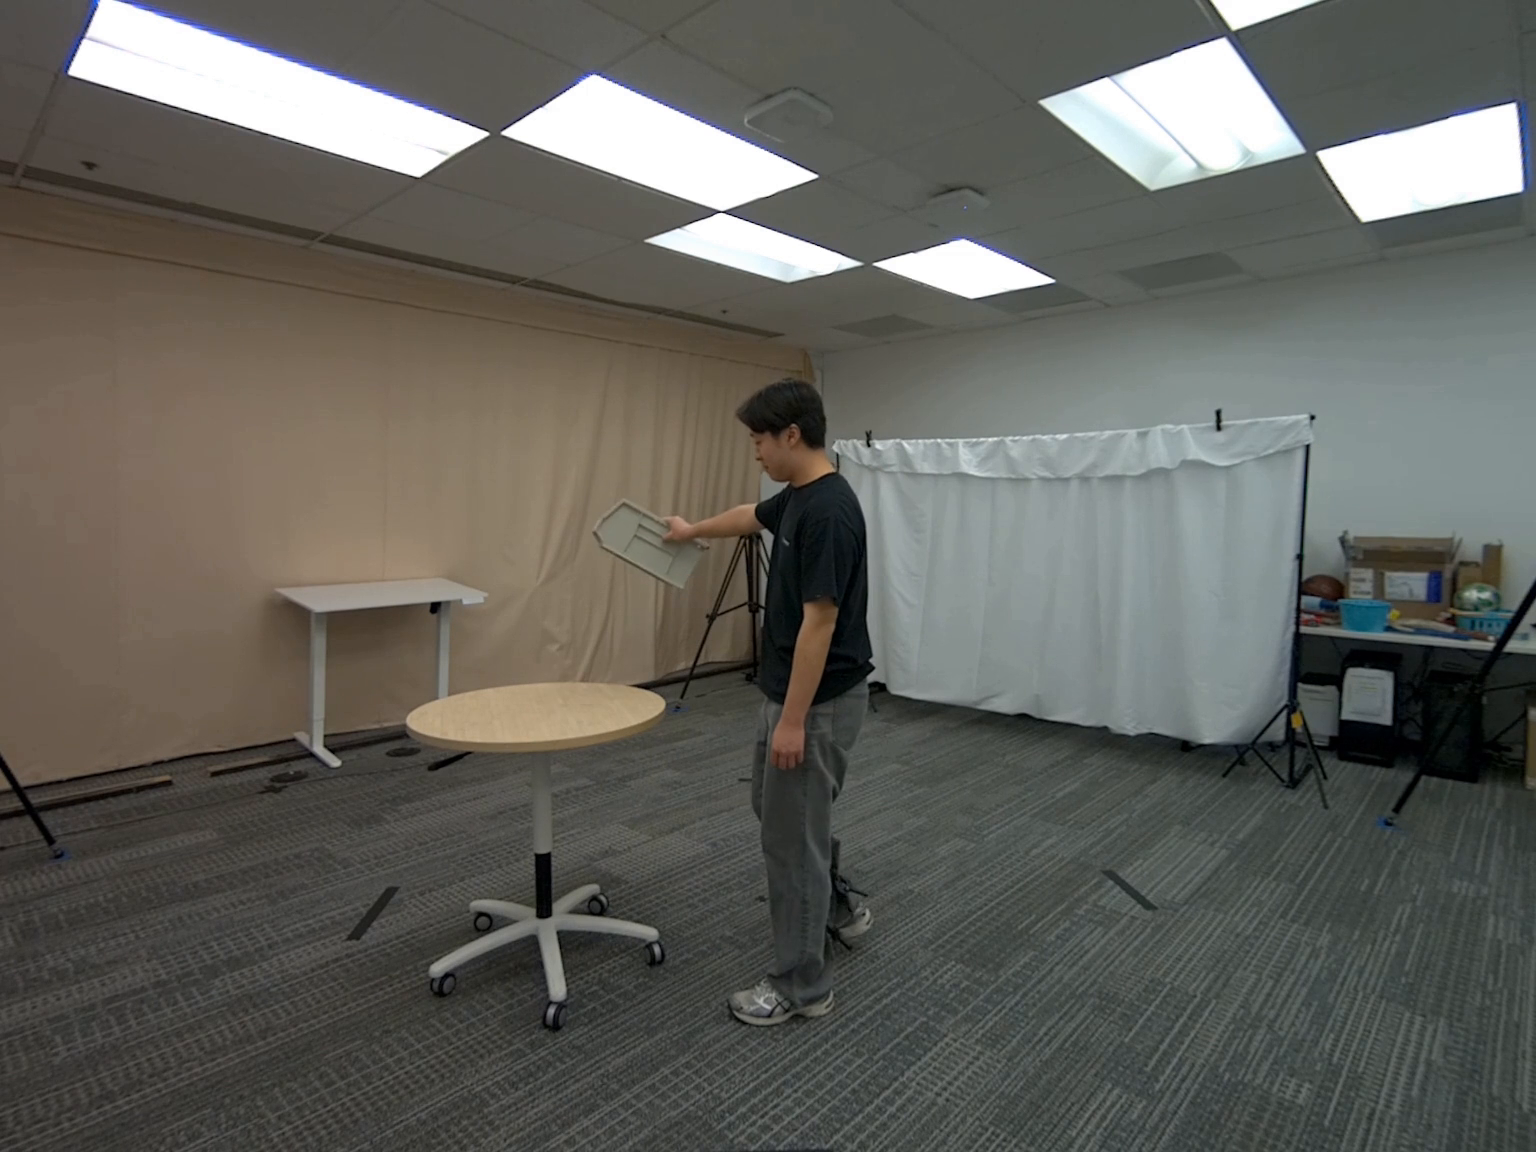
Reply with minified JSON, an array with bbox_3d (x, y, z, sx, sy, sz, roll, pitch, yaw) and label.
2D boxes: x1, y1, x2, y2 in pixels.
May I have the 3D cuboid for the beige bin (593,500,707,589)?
[{"bbox_3d":[-0.451,-0.111,3.090,0.373,0.189,0.428,30,-5,-11],"label":"beige bin"}]
